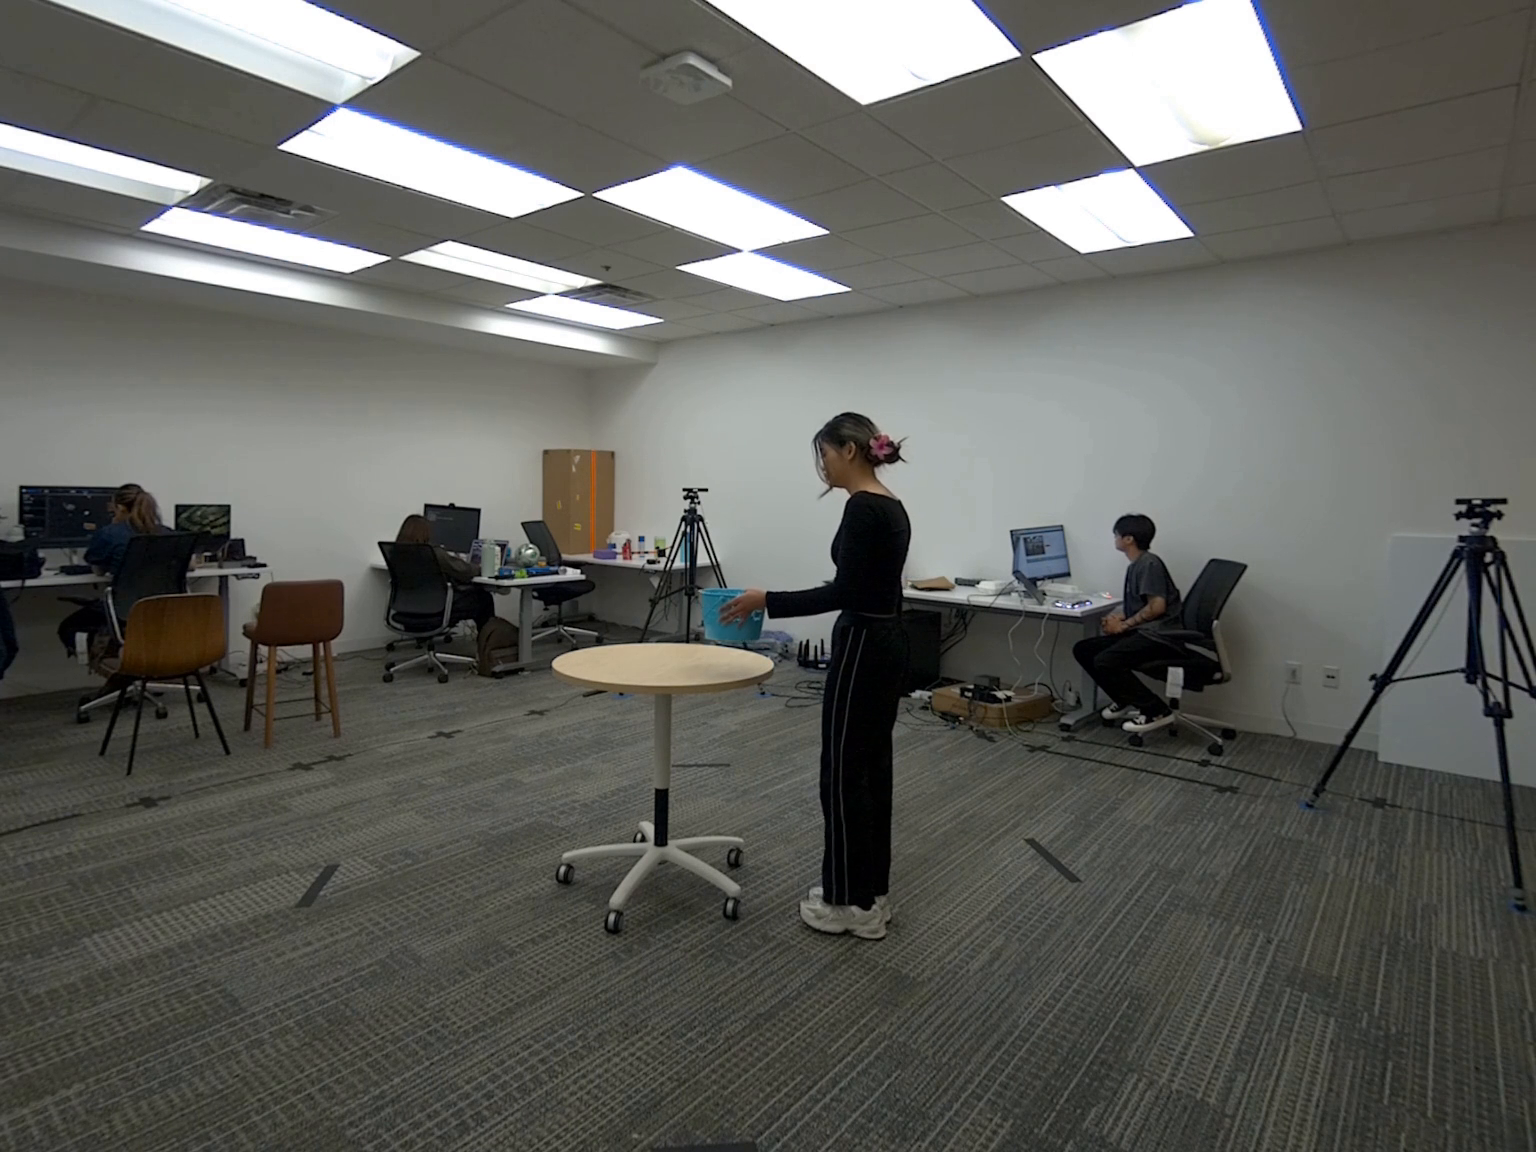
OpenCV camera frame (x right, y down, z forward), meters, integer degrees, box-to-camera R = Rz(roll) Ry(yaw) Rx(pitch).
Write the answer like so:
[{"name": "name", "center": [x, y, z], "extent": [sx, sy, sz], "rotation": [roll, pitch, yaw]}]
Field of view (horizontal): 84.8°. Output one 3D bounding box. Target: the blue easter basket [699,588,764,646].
[{"name": "blue easter basket", "center": [-0.118, 0.129, 2.784], "extent": [0.243, 0.156, 0.244], "rotation": [2, 2, -2]}]
